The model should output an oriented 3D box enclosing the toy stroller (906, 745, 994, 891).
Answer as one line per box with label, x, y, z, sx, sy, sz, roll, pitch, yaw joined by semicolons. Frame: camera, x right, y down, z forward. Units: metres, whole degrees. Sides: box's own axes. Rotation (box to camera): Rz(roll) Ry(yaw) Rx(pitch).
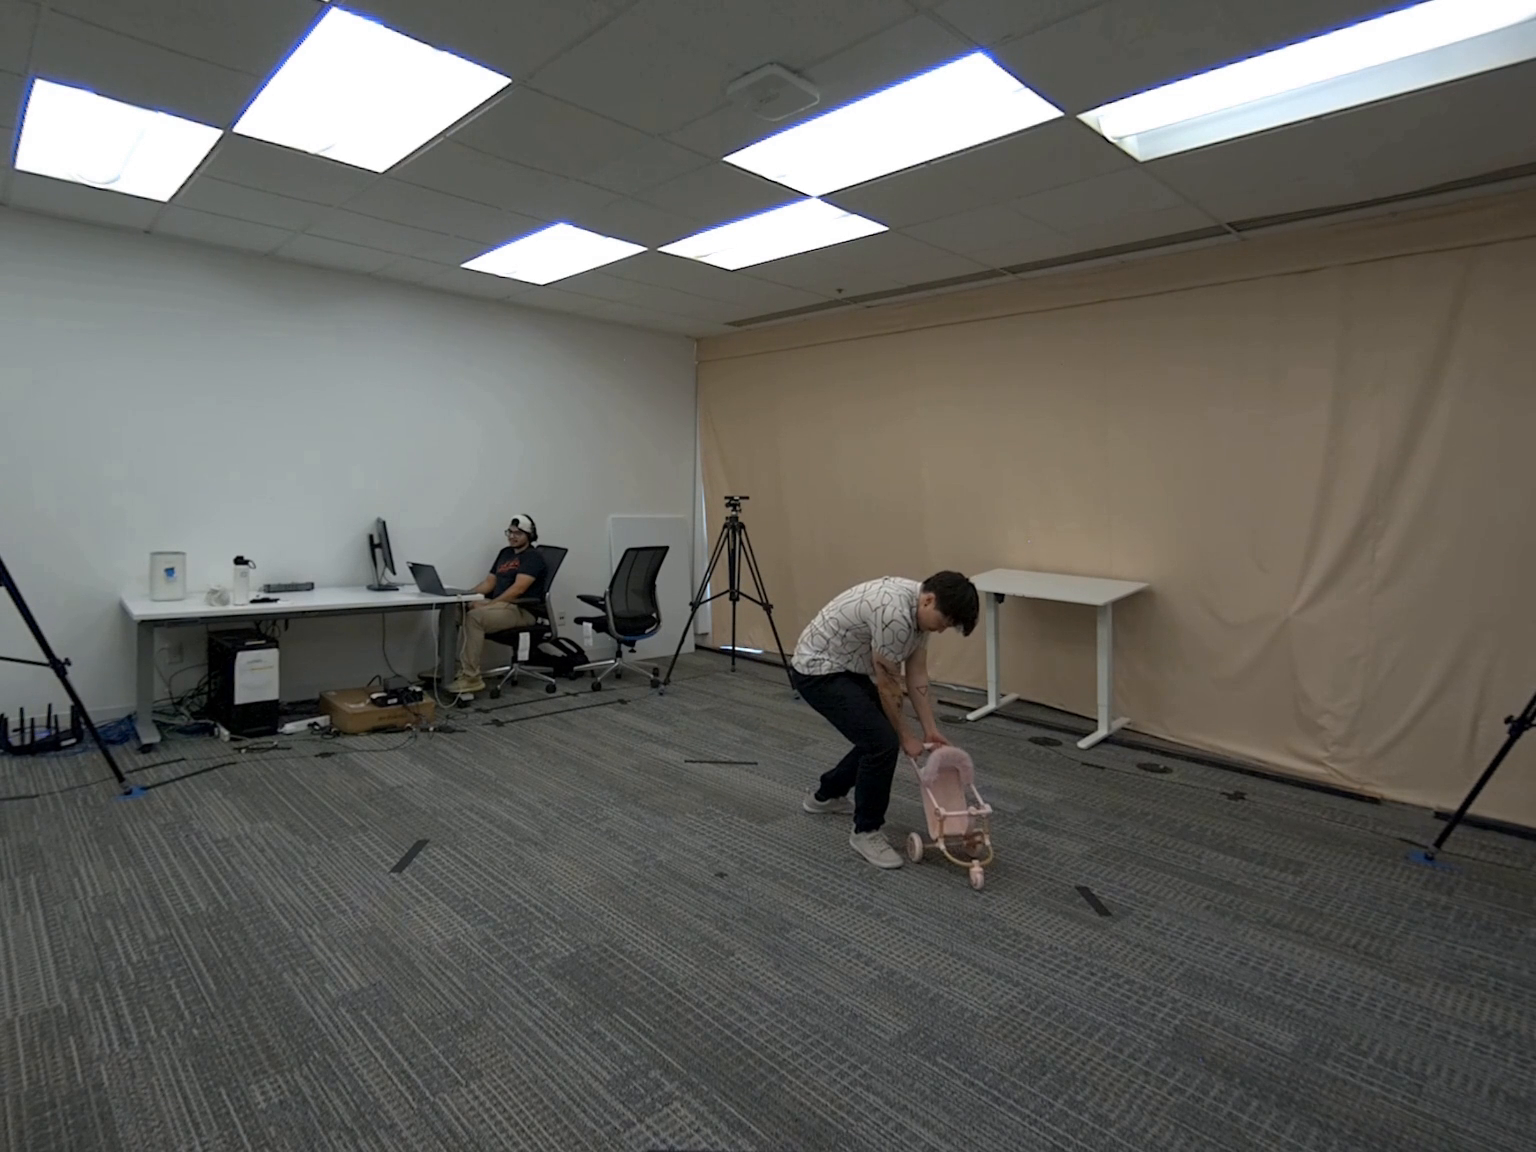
toy stroller;0.694;0.893;3.228;0.279;0.541;0.340;0;-15;-10
